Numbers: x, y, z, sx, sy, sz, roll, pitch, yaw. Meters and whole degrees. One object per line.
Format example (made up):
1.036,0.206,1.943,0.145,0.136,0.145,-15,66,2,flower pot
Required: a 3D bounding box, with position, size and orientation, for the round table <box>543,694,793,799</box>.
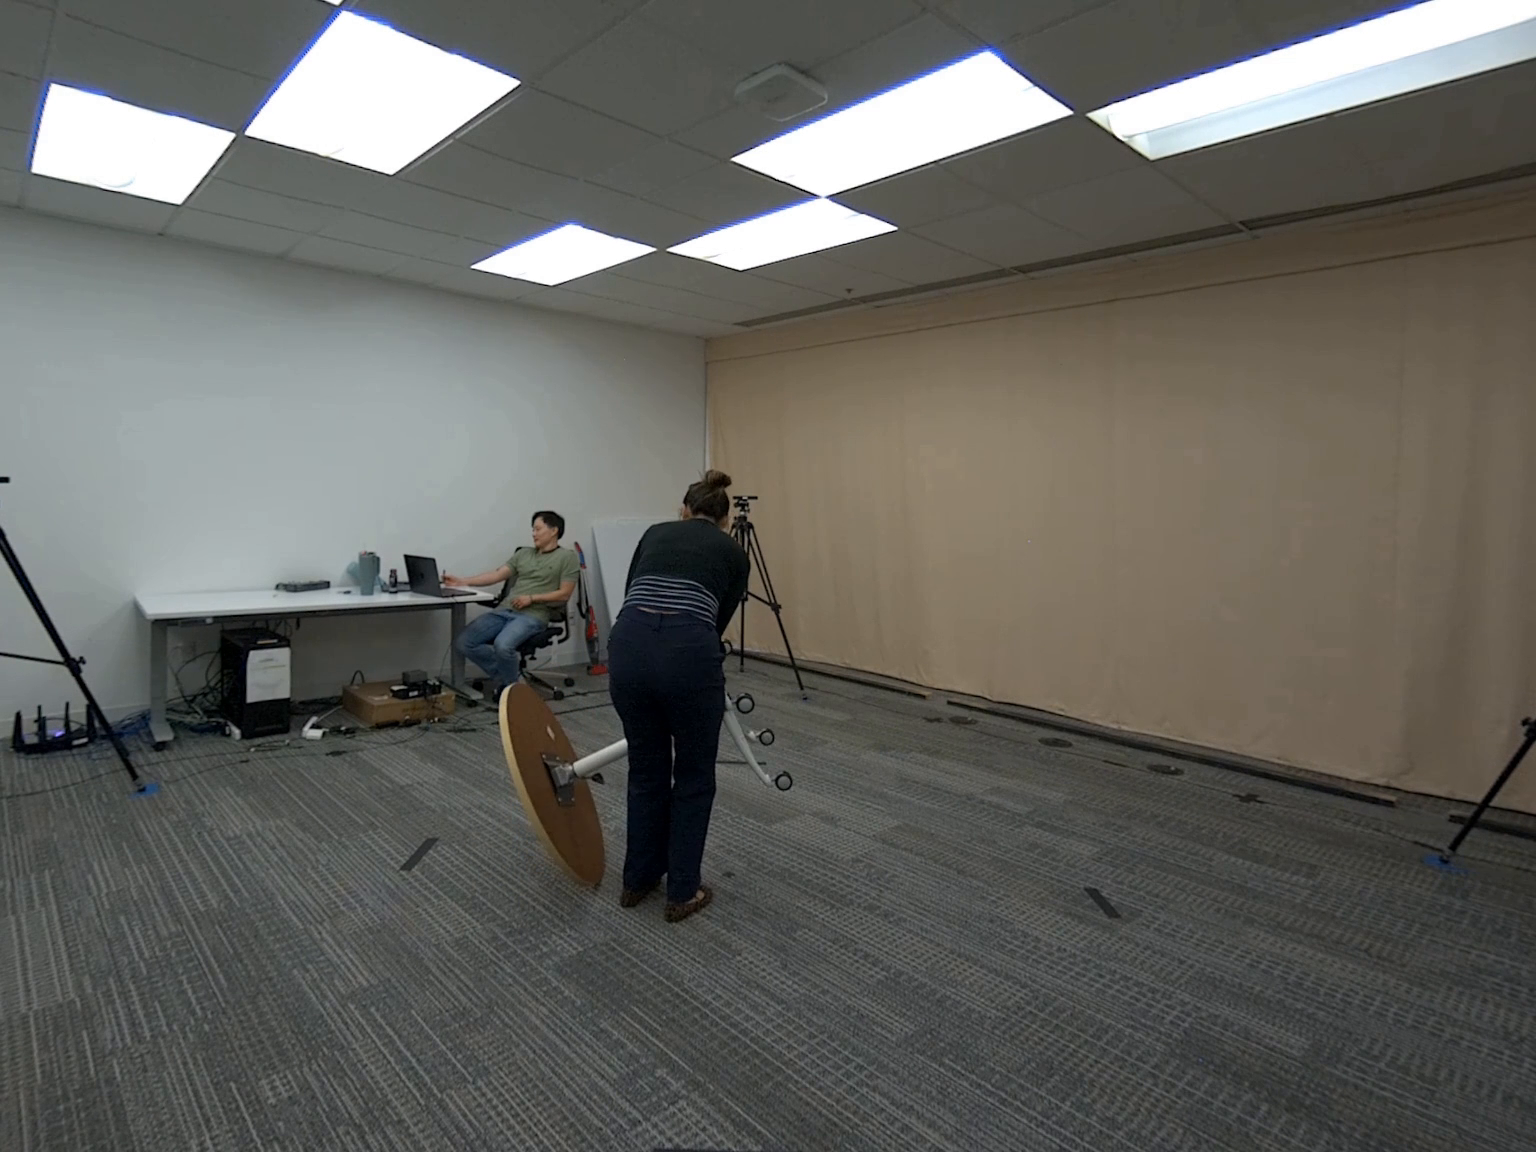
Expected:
-0.434,0.577,3.064,0.793,0.760,0.768,-25,6,-2,round table
